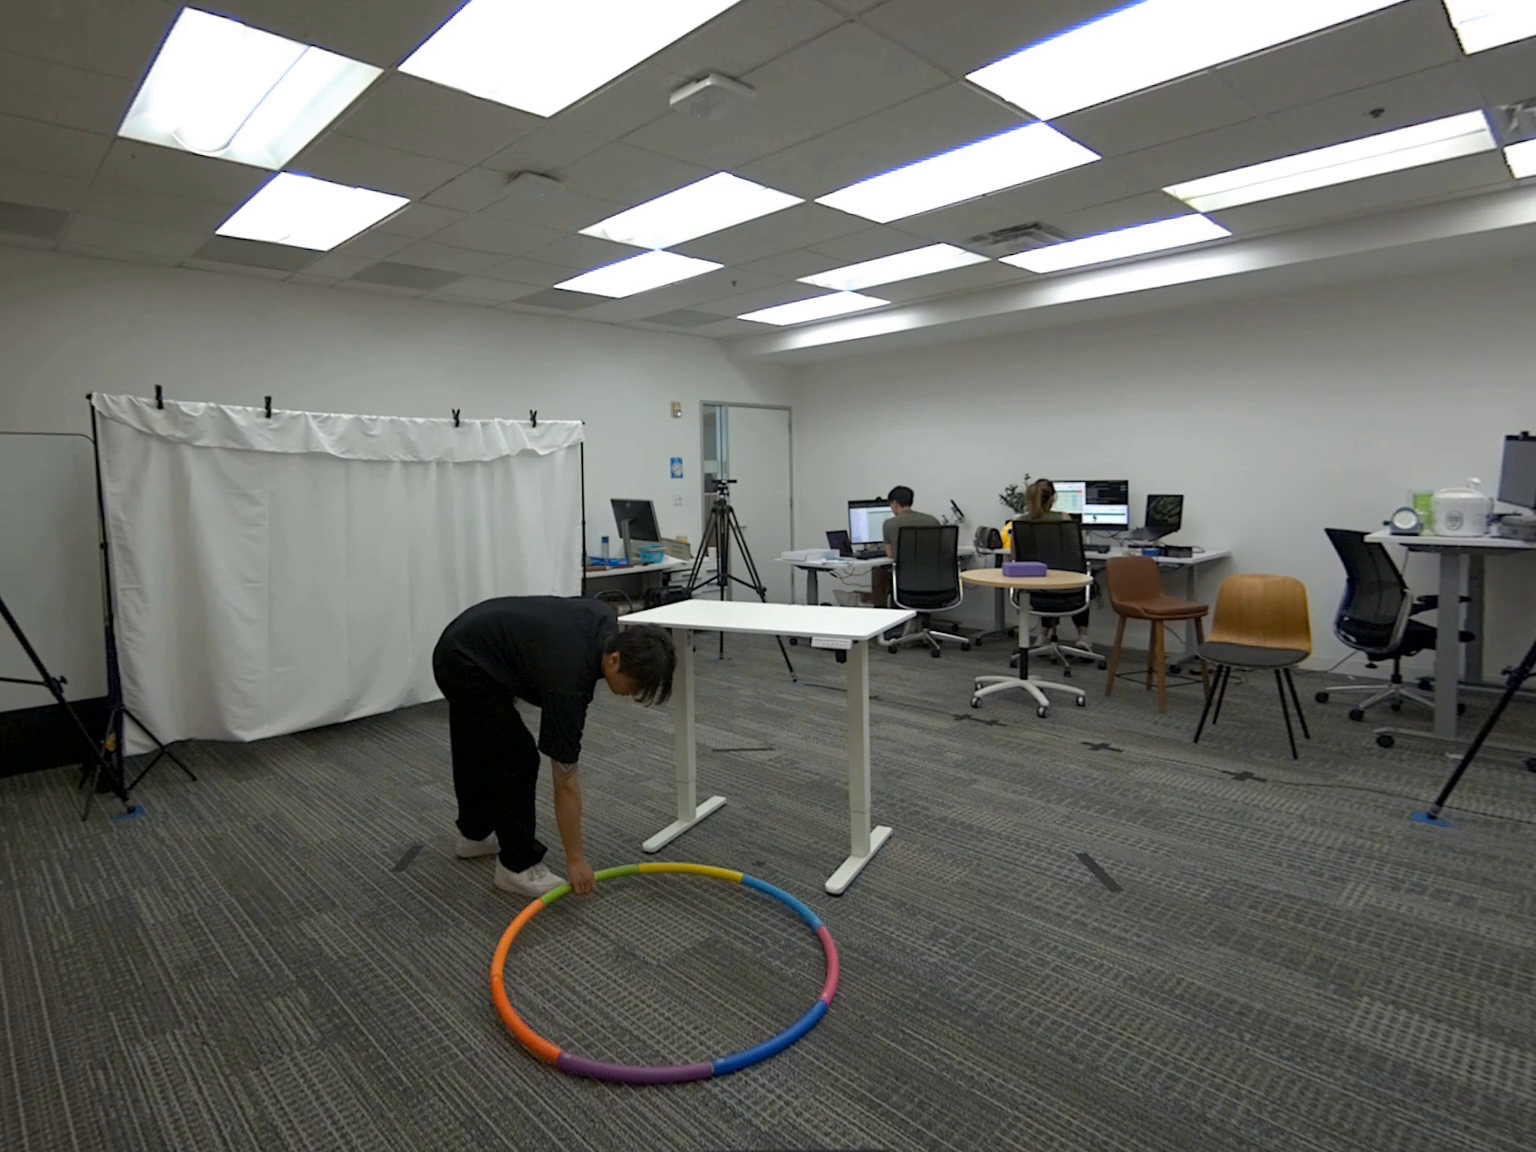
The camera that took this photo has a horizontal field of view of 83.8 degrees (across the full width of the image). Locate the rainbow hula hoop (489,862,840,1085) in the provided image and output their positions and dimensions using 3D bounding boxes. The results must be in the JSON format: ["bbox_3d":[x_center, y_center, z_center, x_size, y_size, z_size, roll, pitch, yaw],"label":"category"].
[{"bbox_3d":[-0.281,1.076,2.470,0.978,0.035,0.986,1,9,-2],"label":"rainbow hula hoop"}]
